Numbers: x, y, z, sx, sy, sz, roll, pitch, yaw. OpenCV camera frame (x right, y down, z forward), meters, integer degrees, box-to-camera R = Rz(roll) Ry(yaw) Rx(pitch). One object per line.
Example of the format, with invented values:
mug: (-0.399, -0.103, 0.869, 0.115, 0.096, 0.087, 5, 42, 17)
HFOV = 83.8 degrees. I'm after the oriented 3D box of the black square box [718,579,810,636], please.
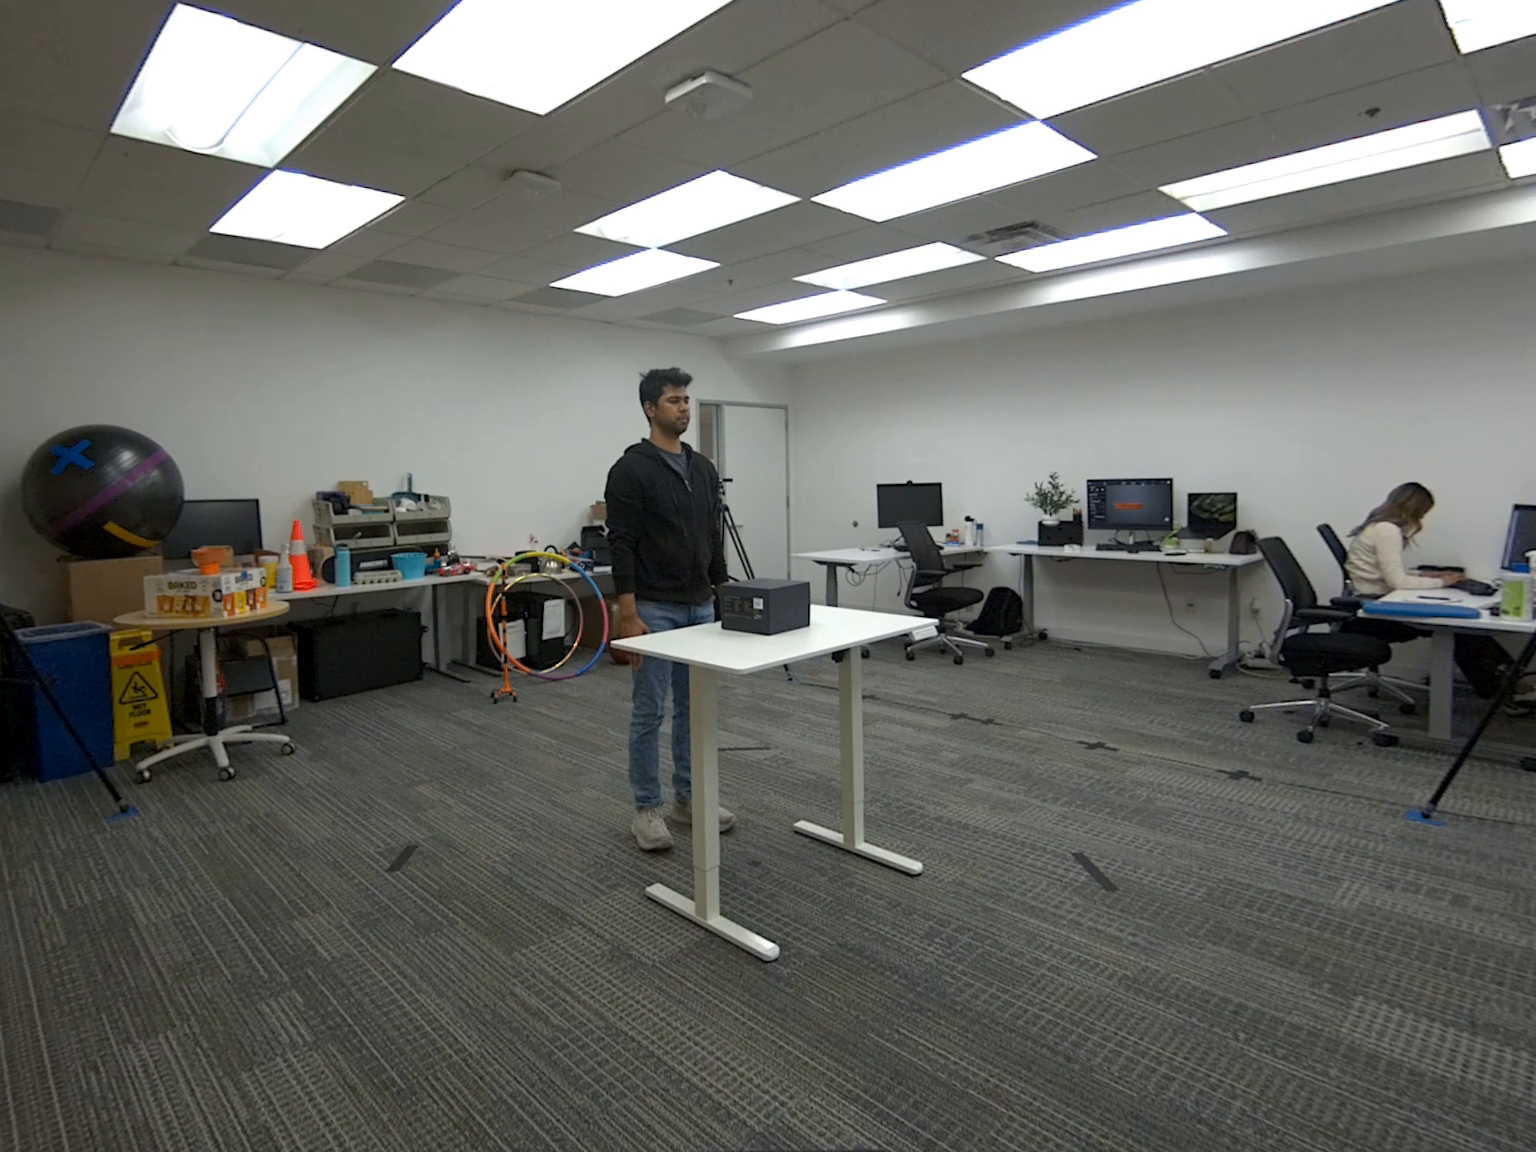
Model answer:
black square box: (-0.009, 0.100, 2.943, 0.223, 0.155, 0.222, 3, 7, 40)
